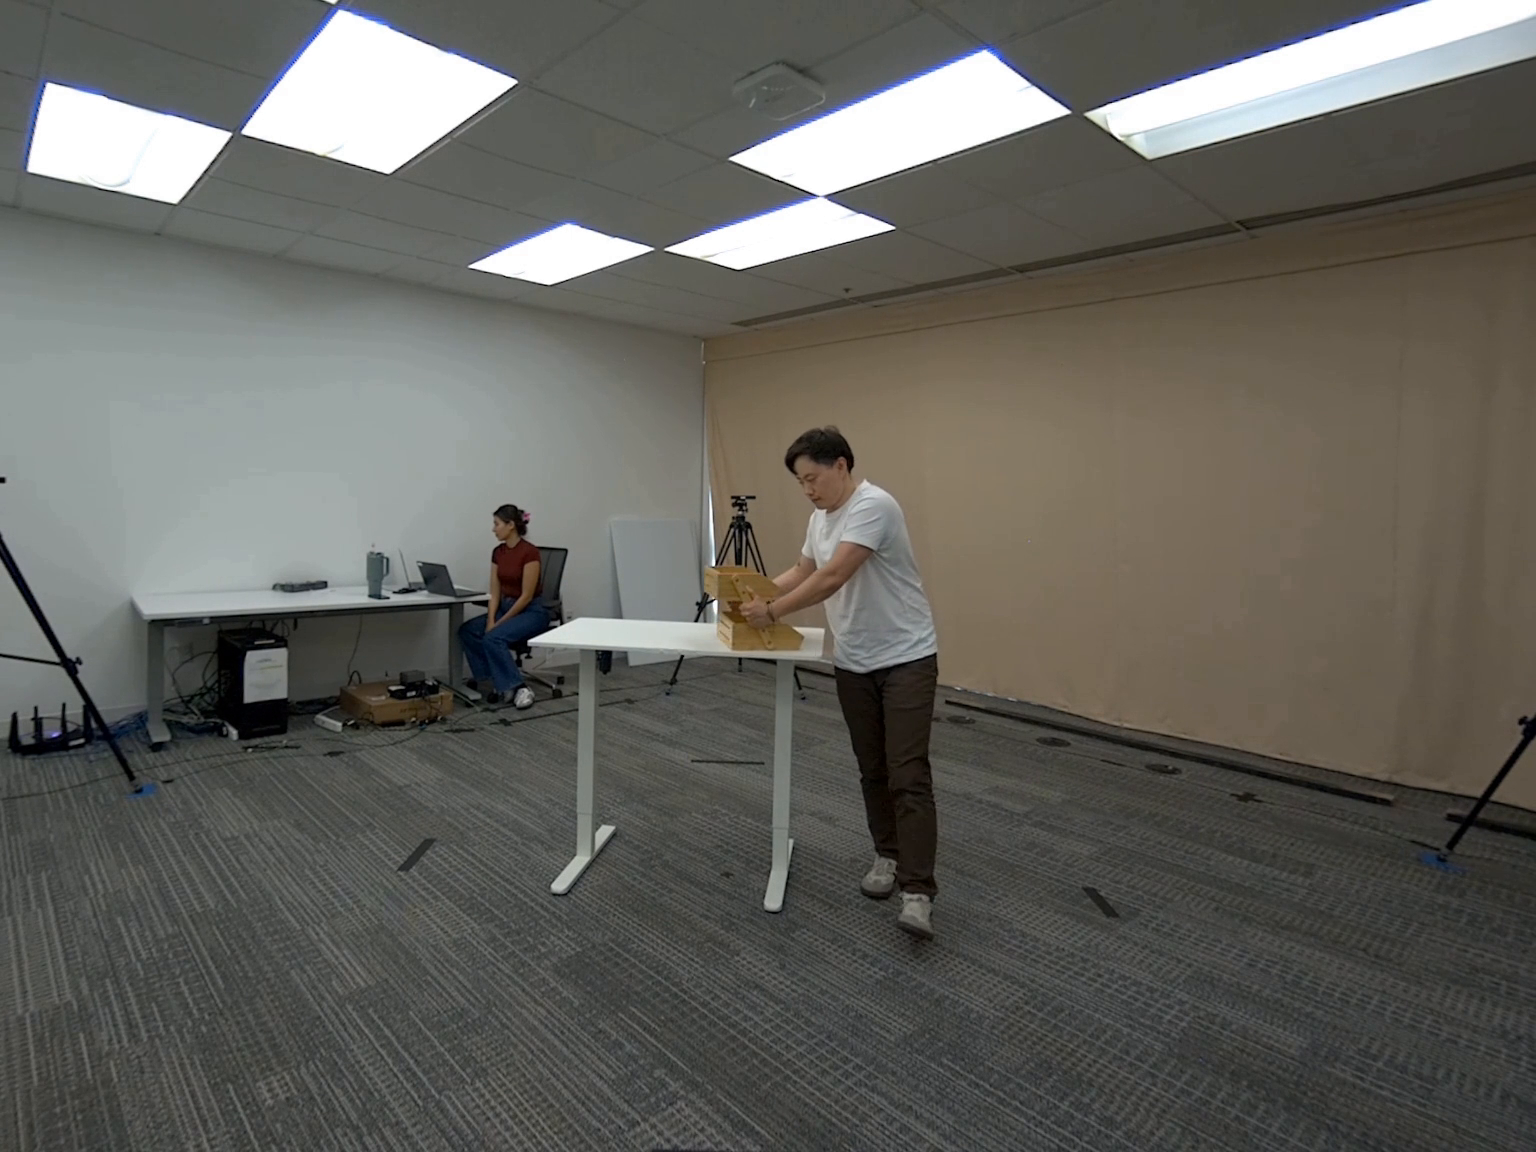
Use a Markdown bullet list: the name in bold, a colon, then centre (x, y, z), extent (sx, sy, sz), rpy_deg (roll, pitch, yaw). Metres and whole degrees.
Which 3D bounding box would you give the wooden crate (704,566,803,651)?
- **wooden crate**: centre (-0.058, 0.105, 2.965), extent (0.299, 0.272, 0.328), rpy_deg (-1, 4, -13)
